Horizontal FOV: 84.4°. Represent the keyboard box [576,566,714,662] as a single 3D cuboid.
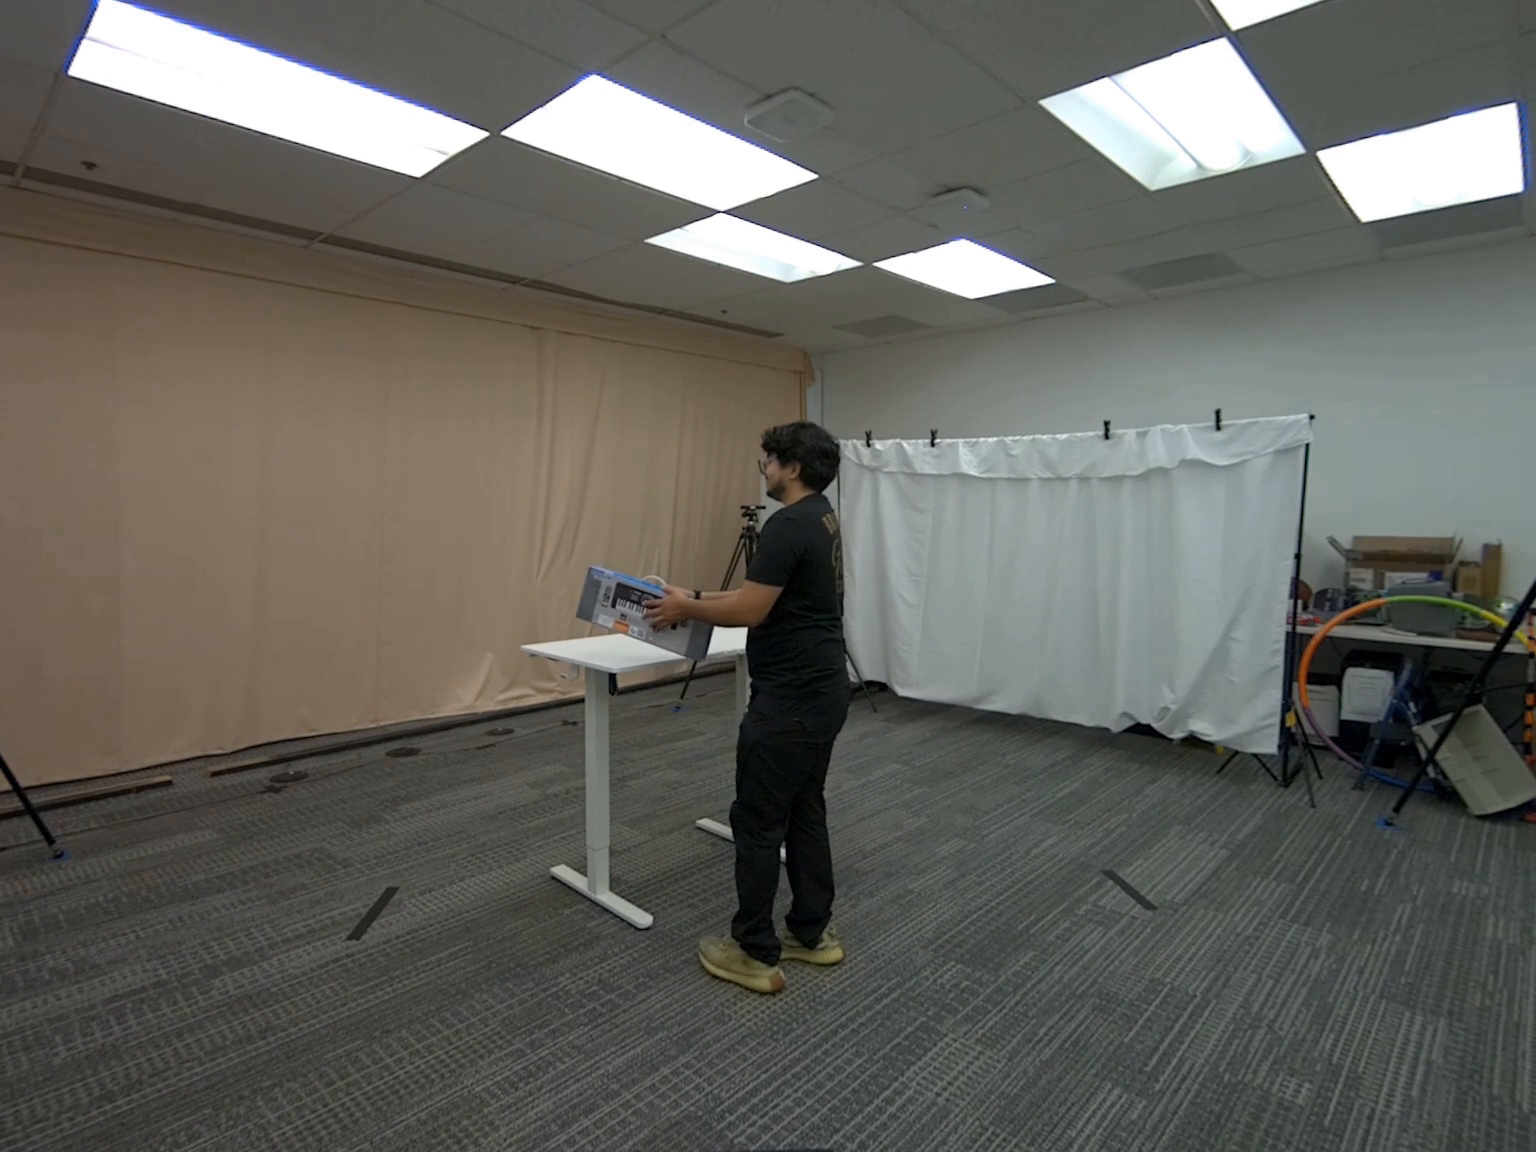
[{"bbox_3d":[-0.378,0.118,2.654,0.443,0.175,0.058,18,8,12],"label":"keyboard box"}]
